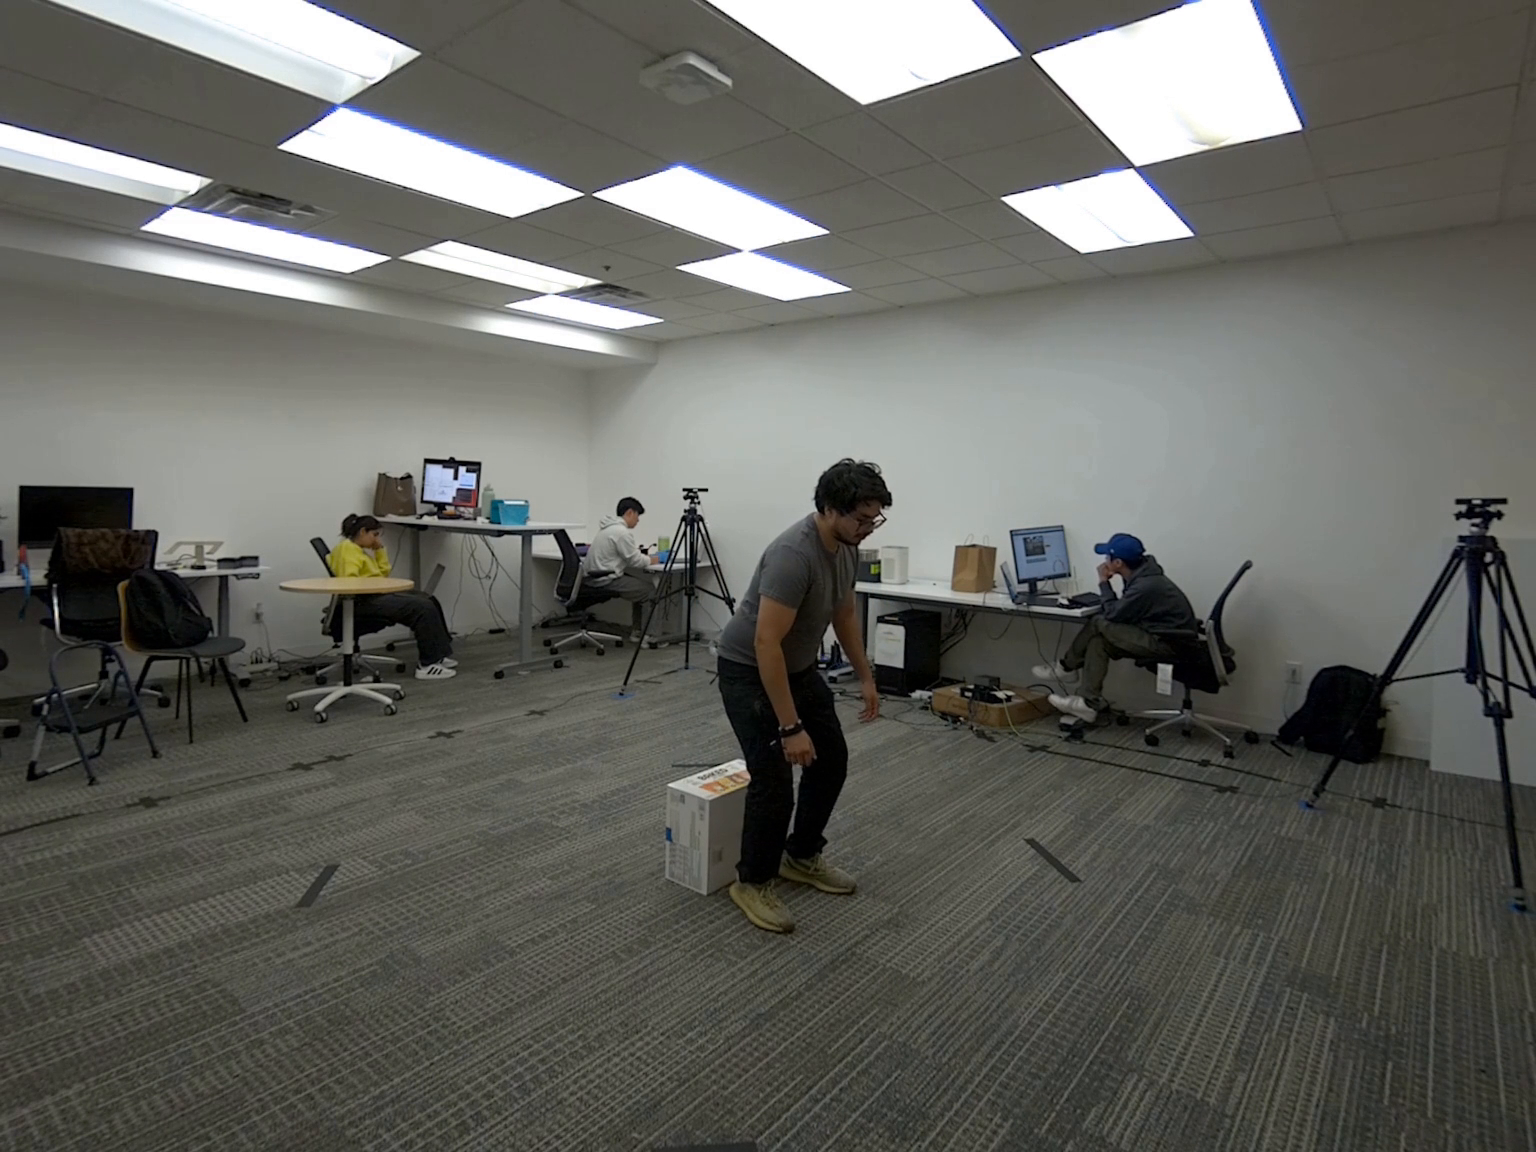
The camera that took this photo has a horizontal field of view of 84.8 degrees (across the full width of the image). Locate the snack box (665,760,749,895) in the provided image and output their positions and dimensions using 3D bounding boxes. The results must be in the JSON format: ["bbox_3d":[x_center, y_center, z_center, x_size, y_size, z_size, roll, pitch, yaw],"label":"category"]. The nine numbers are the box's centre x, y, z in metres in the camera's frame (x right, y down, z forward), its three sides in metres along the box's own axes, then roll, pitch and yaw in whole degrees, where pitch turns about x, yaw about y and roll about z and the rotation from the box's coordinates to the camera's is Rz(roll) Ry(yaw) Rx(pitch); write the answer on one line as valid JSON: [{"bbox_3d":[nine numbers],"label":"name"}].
[{"bbox_3d":[-0.171,0.901,3.105,0.212,0.339,0.393,4,6,39],"label":"snack box"}]
